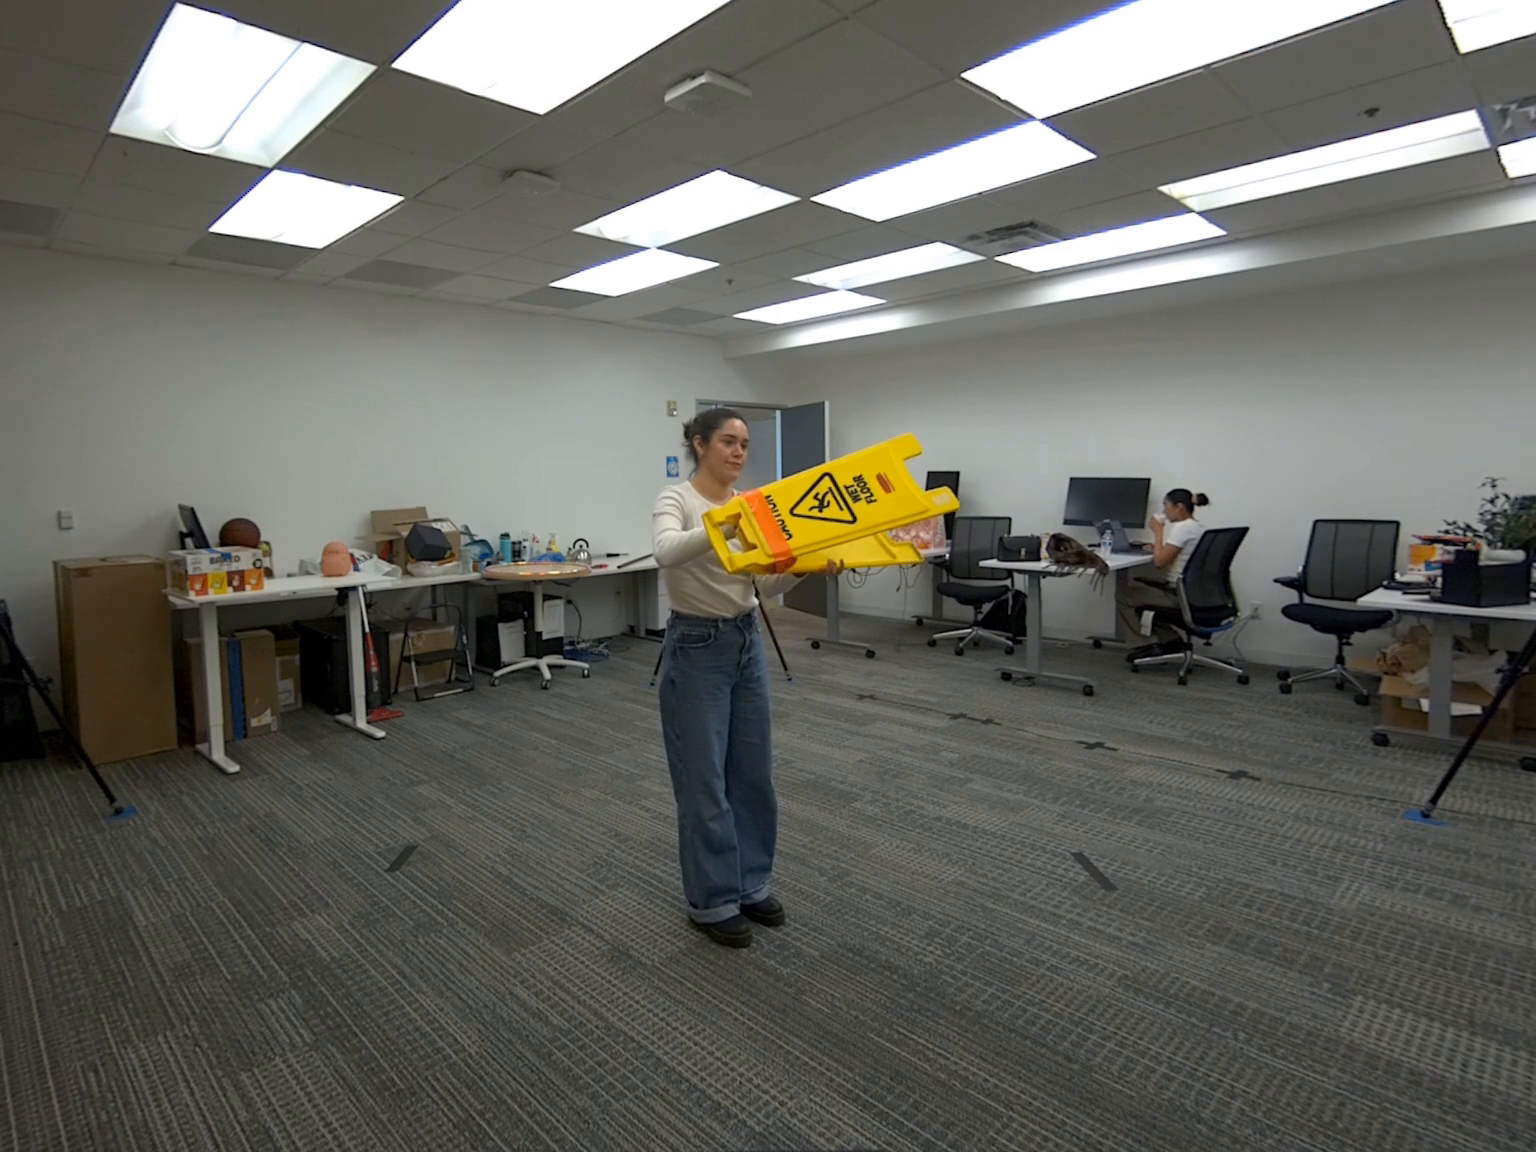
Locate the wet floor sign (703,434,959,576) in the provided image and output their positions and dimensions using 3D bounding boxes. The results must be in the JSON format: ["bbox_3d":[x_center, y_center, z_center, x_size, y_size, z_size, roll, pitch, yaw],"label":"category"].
[{"bbox_3d":[0.149,-0.153,2.333,0.635,0.291,0.285,-13,-30,-25],"label":"wet floor sign"}]
